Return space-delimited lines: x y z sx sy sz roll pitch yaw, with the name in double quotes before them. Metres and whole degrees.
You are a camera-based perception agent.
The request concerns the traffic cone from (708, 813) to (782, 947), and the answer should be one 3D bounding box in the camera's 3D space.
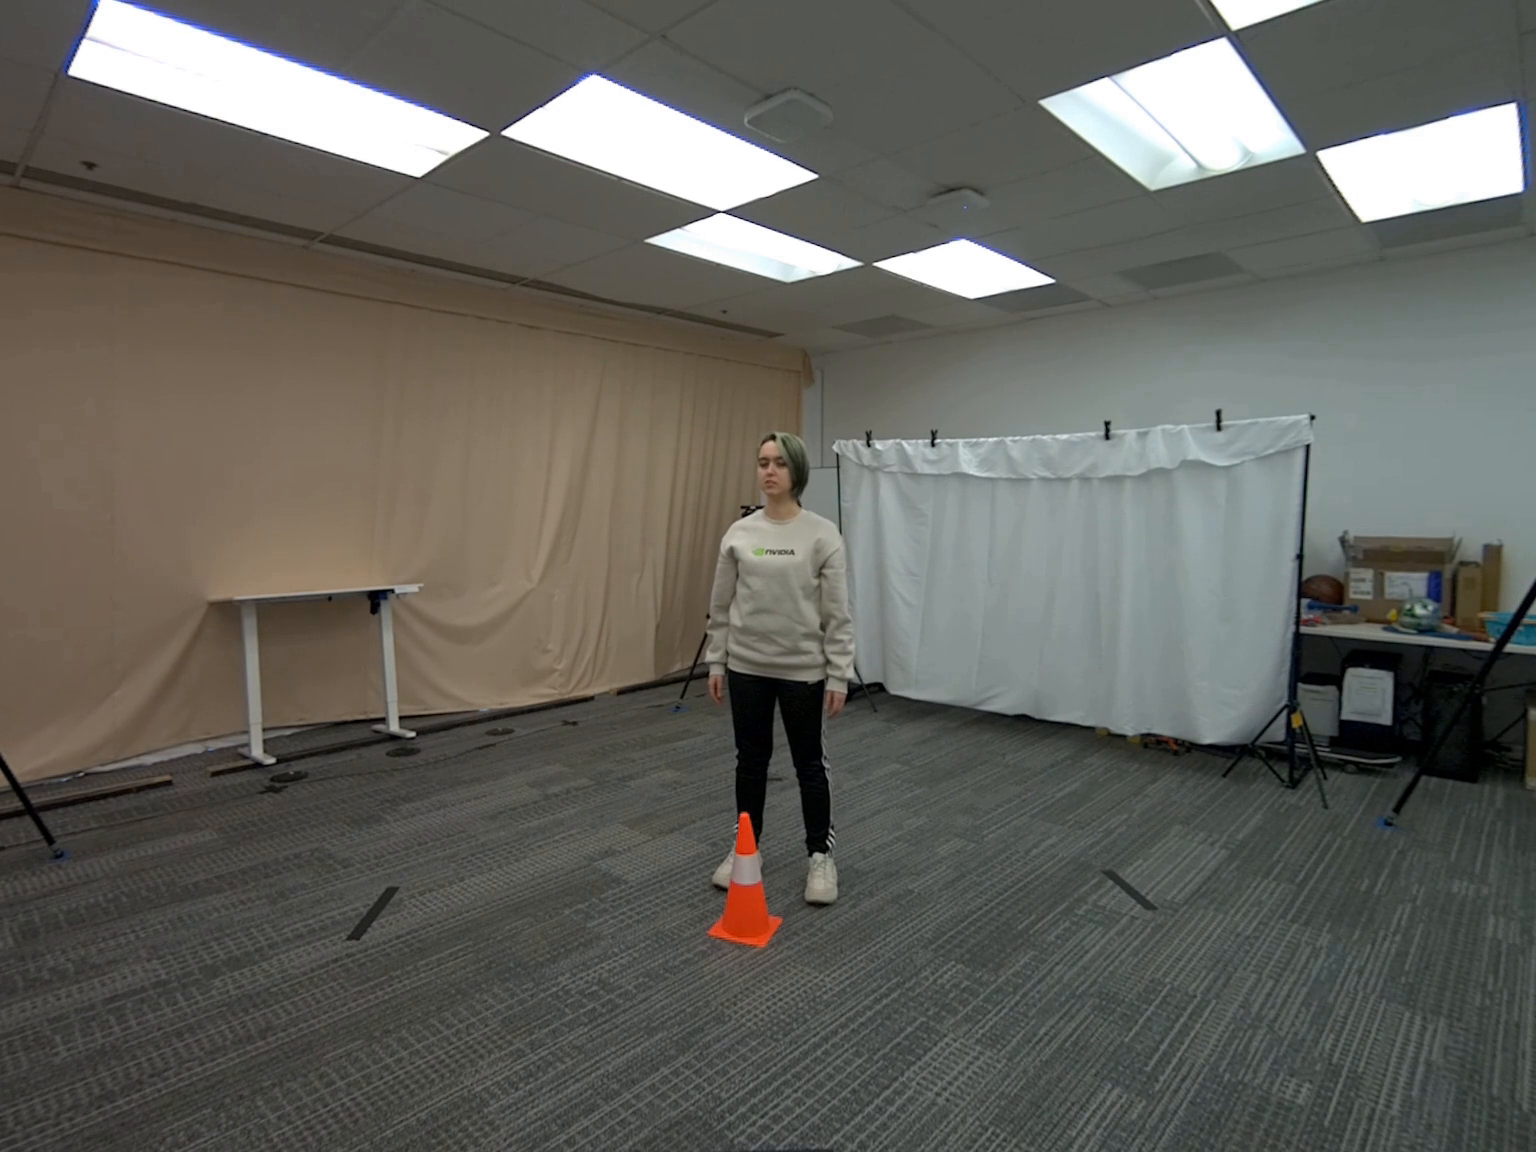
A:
"traffic cone" -0.075 0.972 2.779 0.210 0.383 0.199 0 2 23
